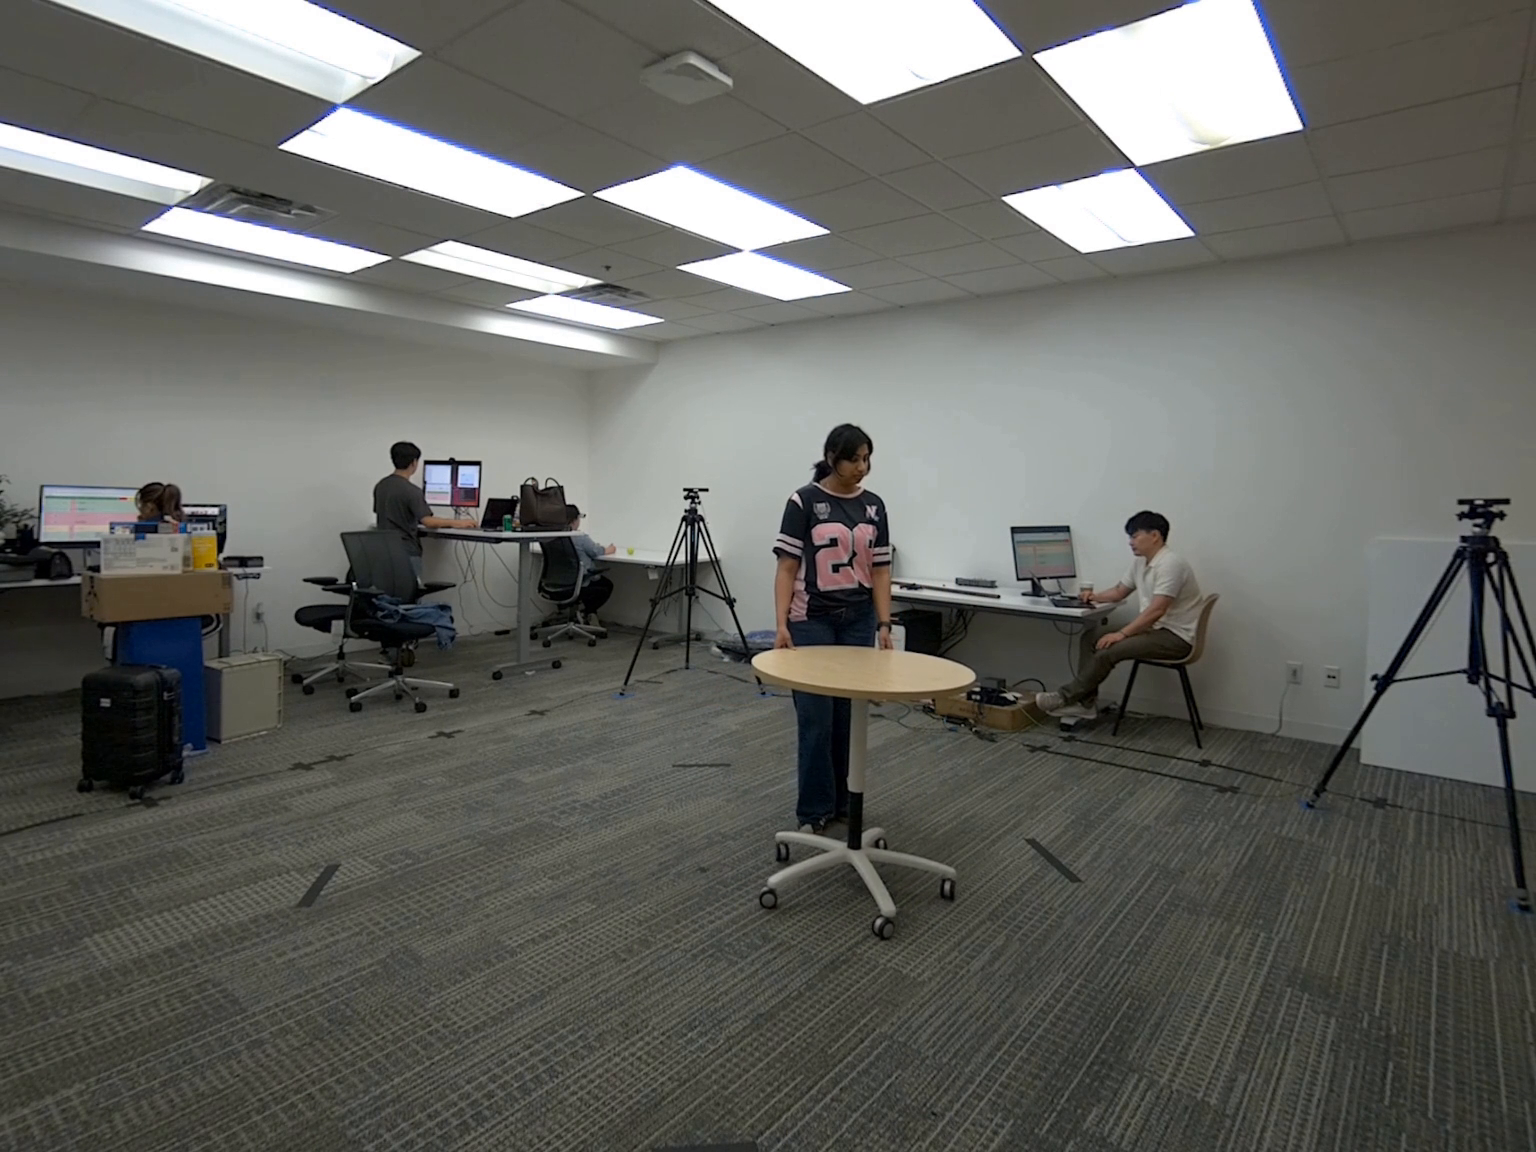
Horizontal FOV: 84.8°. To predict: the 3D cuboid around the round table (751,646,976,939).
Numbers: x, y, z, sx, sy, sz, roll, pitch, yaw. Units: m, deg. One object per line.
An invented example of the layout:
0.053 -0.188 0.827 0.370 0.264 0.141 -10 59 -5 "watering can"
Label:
0.297 0.704 2.982 0.763 0.792 0.767 2 4 -2 "round table"
